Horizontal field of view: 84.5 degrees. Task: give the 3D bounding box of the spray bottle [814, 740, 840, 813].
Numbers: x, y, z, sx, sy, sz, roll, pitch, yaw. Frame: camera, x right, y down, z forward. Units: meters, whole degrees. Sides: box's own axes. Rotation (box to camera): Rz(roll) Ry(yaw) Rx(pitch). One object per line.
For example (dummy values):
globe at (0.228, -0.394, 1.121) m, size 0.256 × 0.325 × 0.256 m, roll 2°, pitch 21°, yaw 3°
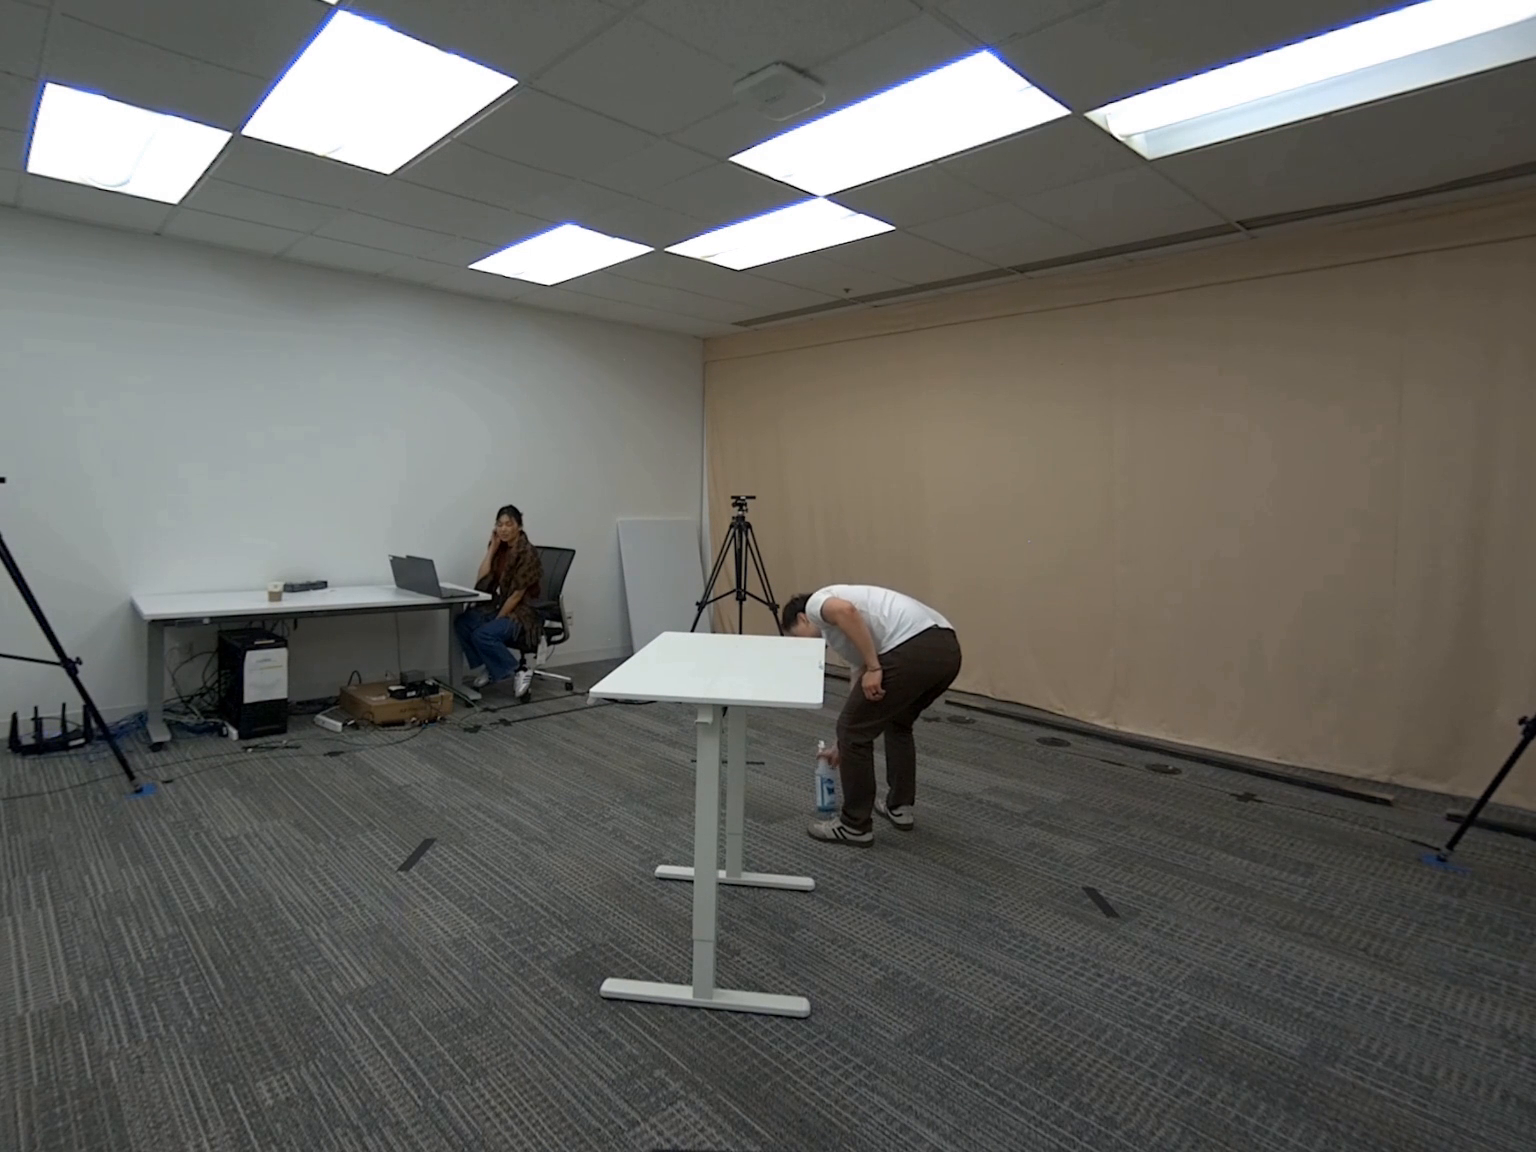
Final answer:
spray bottle at (0.256, 0.886, 3.817) m, size 0.088 × 0.300 × 0.088 m, roll -7°, pitch -12°, yaw 20°
